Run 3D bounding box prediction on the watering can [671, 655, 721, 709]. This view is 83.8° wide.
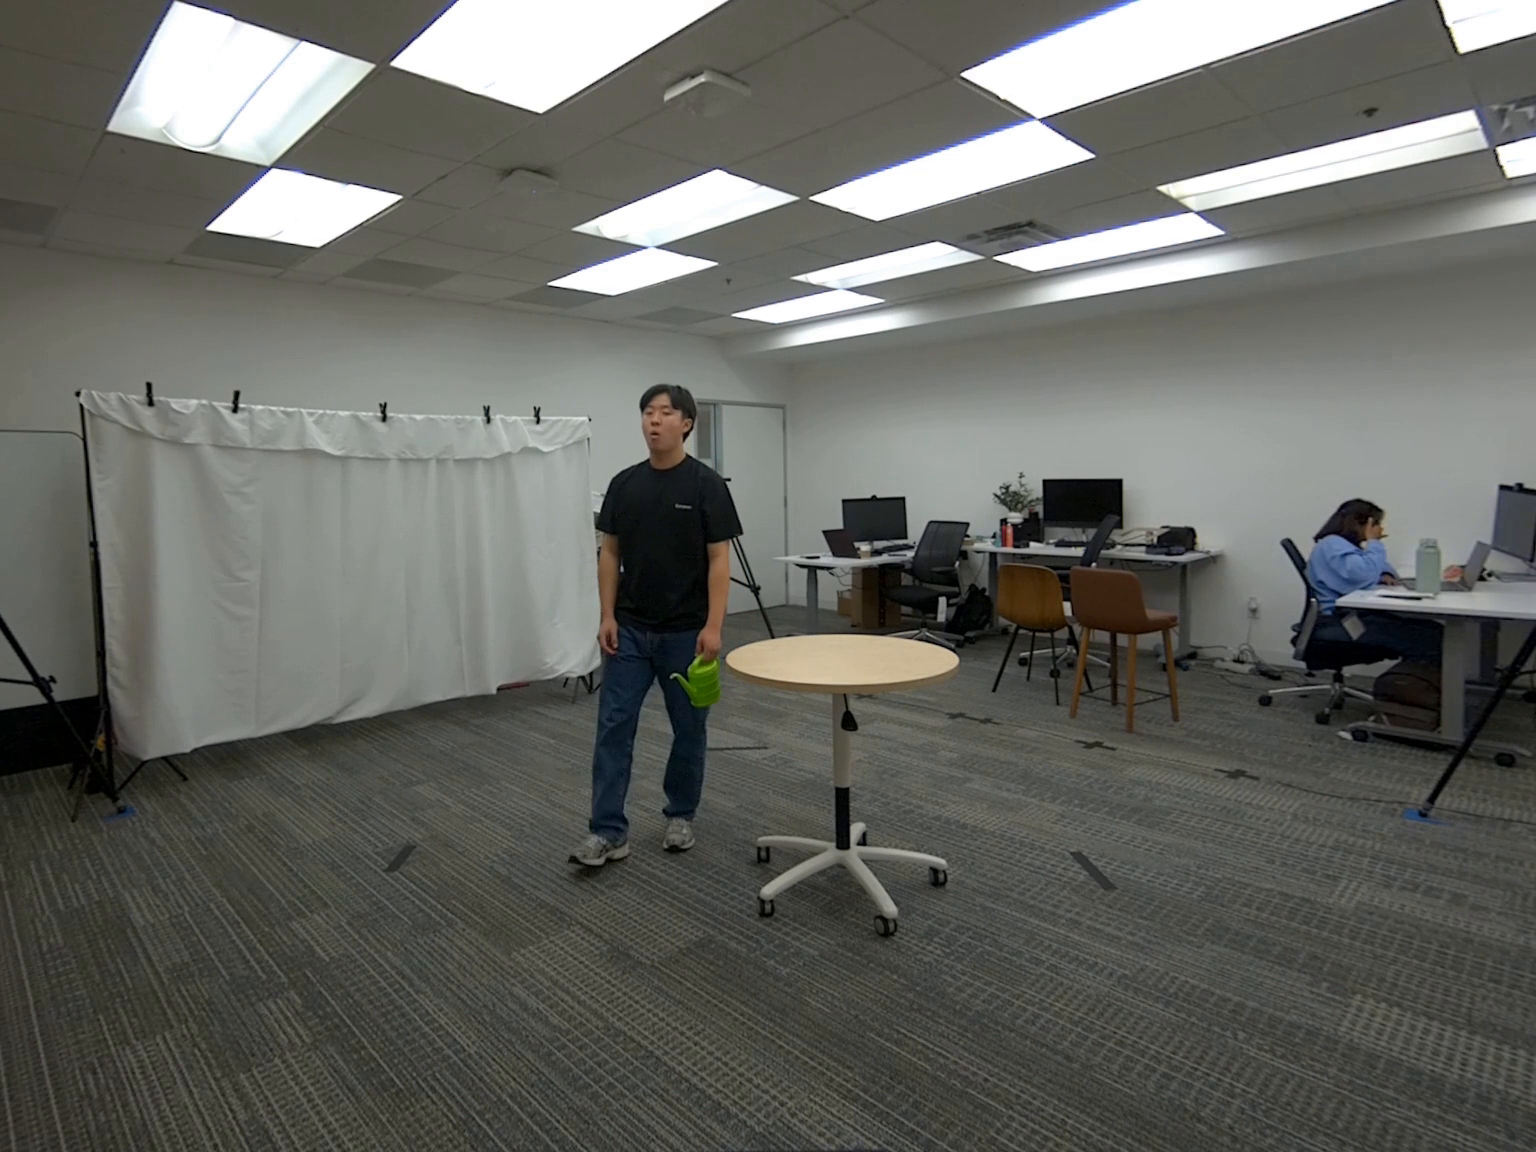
[{"bbox_3d":[-0.252,0.377,3.035,0.101,0.174,0.273,6,20,40],"label":"watering can"}]
